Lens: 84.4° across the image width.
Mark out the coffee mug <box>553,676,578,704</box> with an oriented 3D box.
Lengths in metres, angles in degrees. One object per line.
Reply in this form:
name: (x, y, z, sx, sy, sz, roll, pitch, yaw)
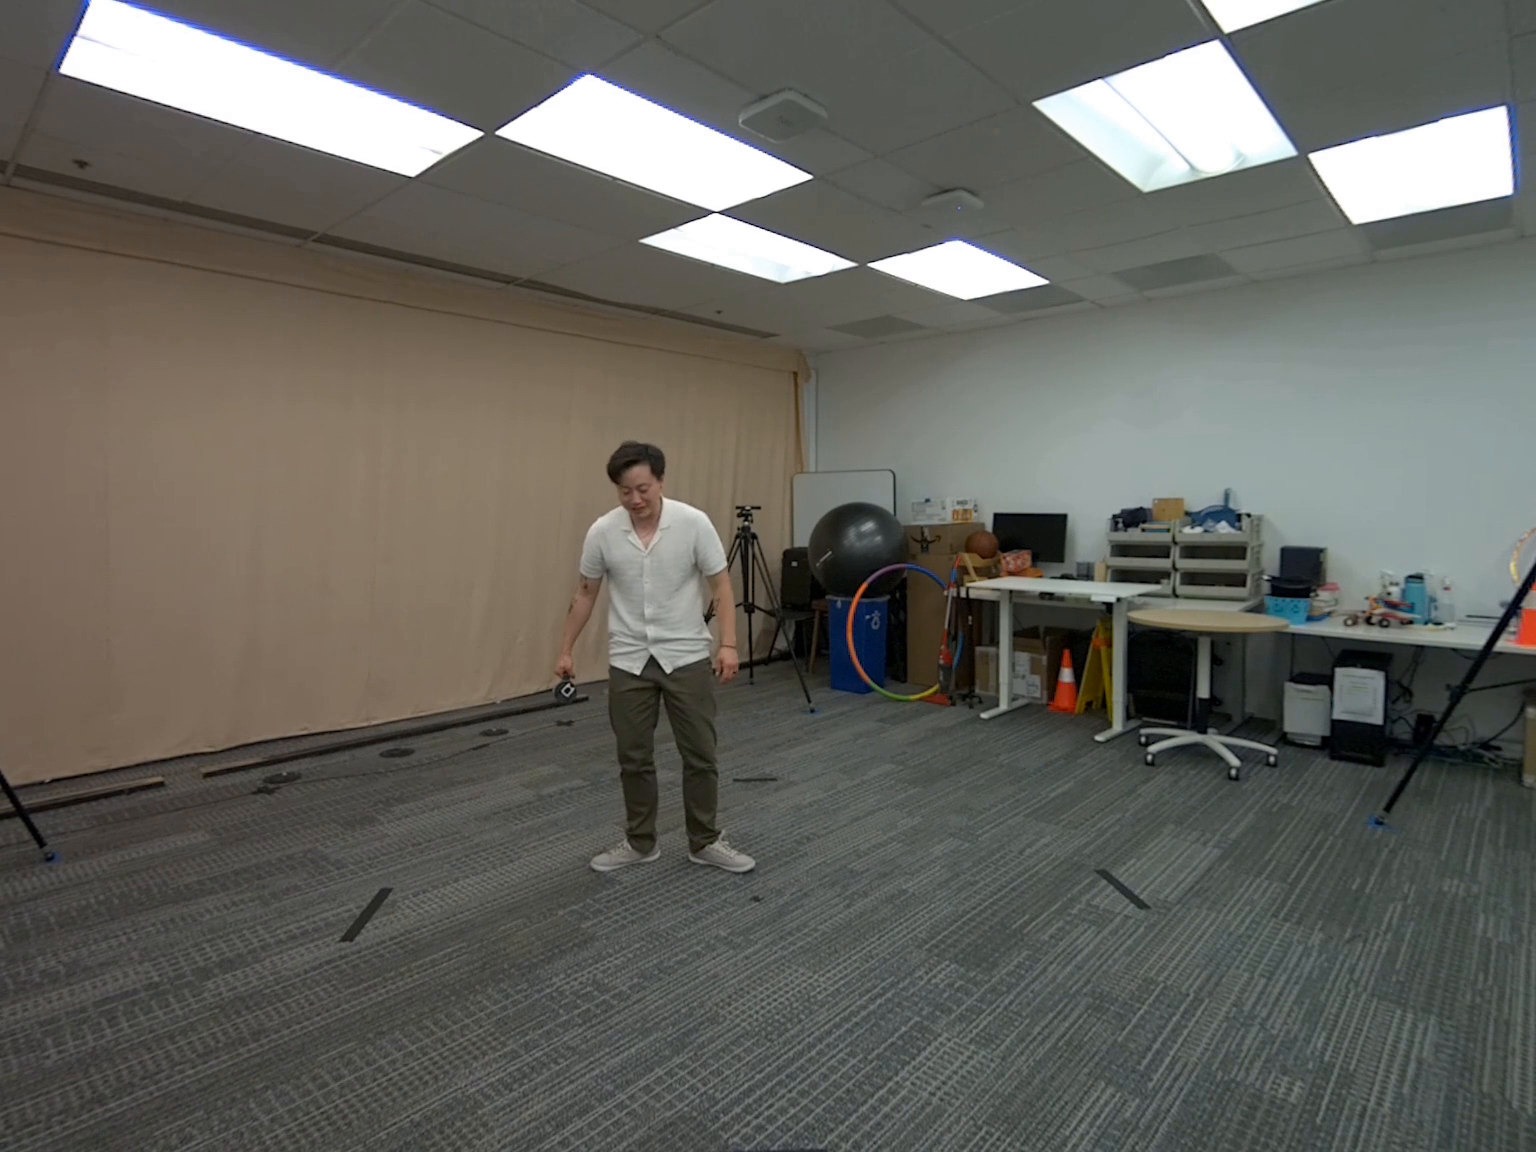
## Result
coffee mug: (-0.796, 0.435, 3.338, 0.086, 0.122, 0.206, 4, -1, -15)
